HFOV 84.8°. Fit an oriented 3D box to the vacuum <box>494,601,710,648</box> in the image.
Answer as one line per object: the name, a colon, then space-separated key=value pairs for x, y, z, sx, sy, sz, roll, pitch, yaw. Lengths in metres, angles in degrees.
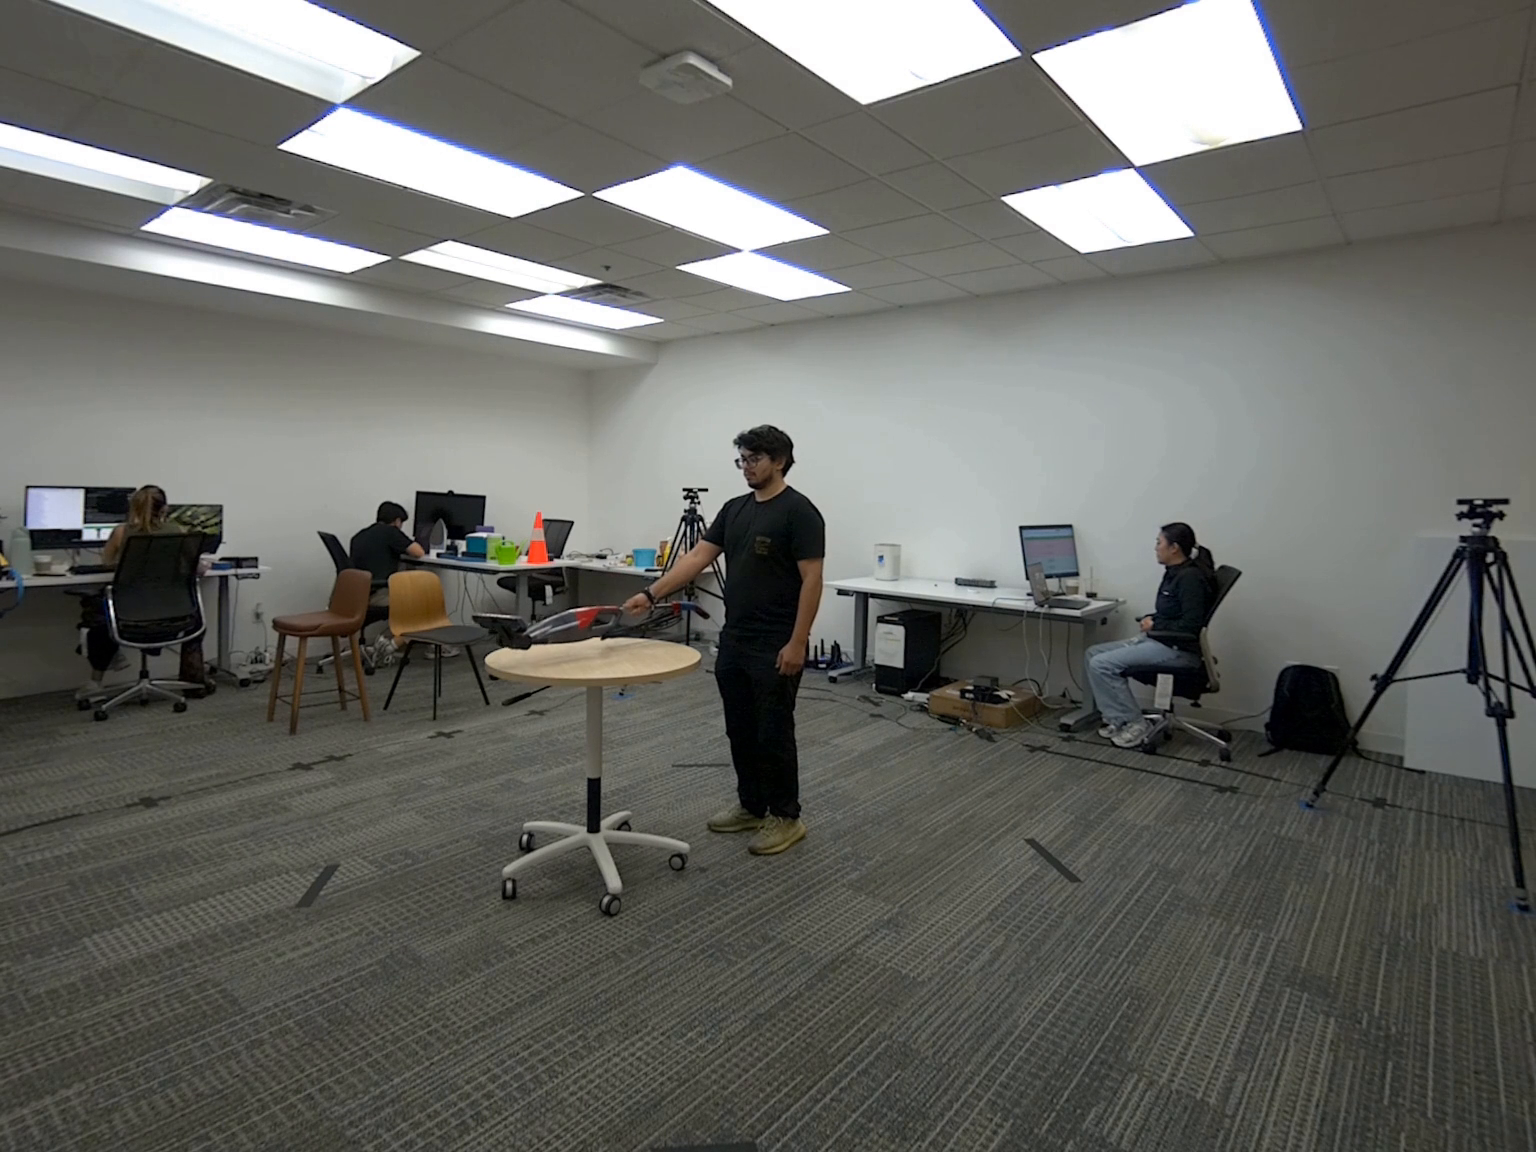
vacuum: x=-0.610 y=0.185 z=3.224 sx=0.260 sy=0.144 sz=1.017 roll=2 pitch=2 yaw=36
